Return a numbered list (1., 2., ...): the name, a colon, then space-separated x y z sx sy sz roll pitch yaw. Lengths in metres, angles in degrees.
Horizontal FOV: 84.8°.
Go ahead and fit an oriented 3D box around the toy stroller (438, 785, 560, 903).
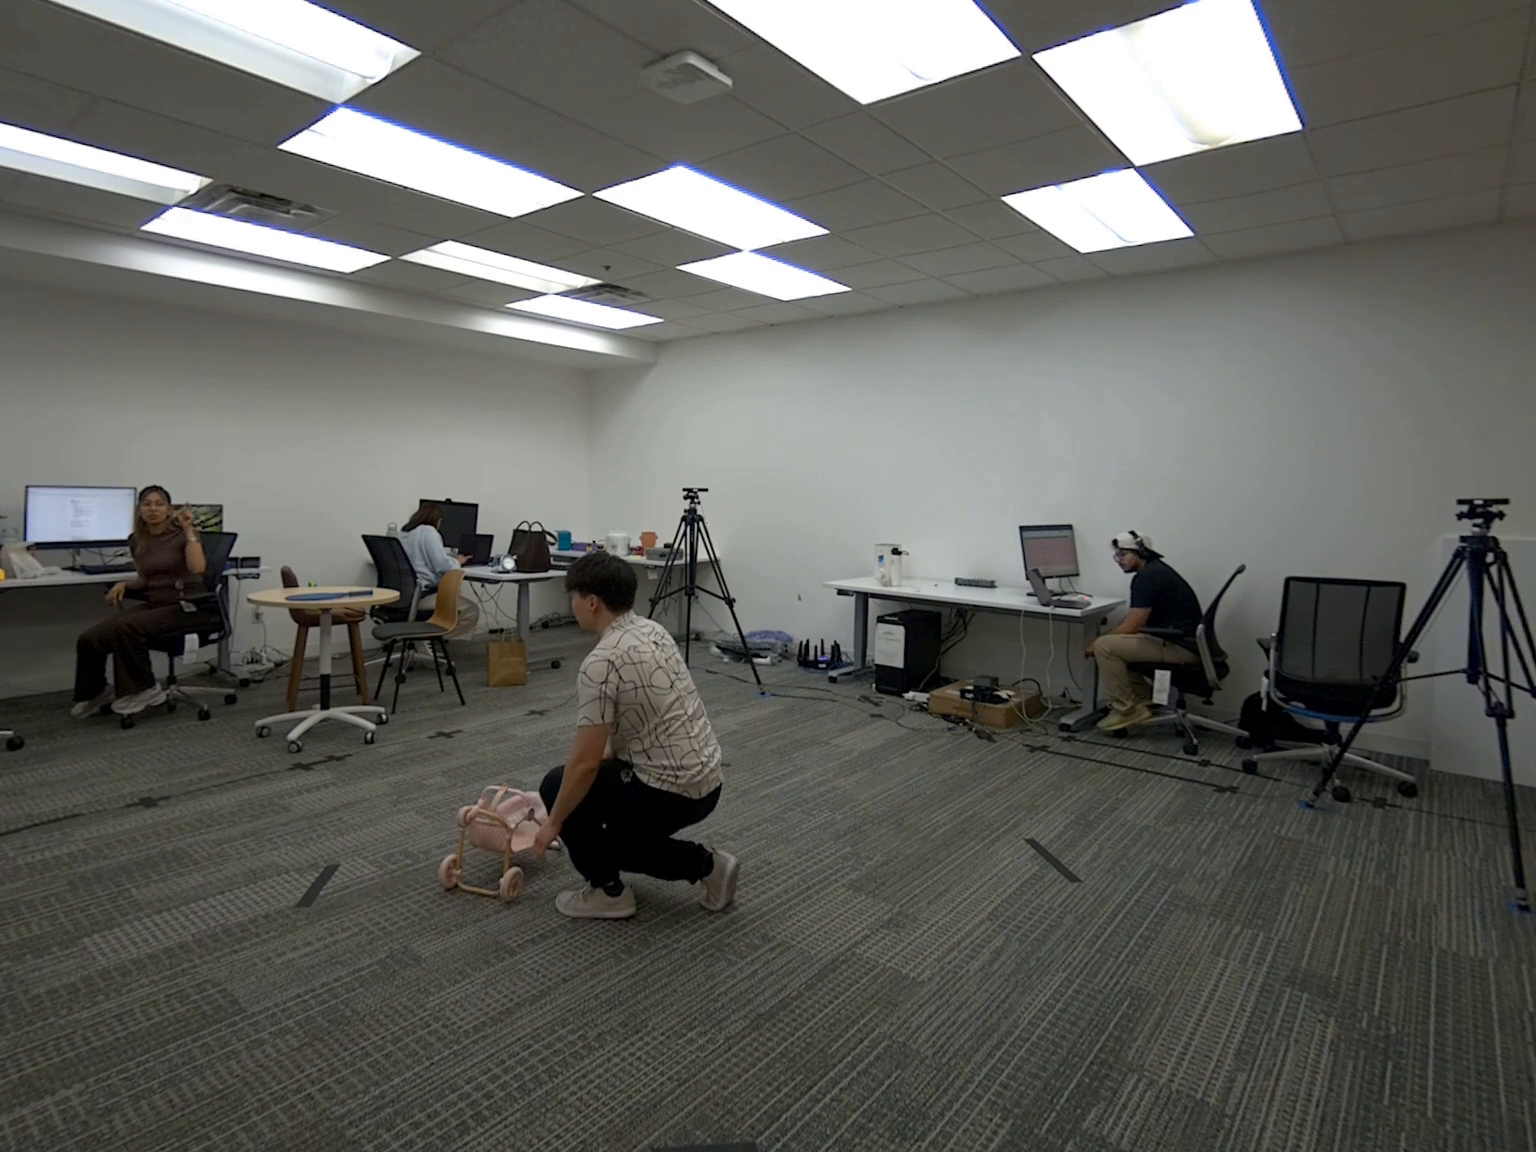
1. toy stroller: -0.953 0.905 3.028 0.287 0.340 0.526 -3 5 19
